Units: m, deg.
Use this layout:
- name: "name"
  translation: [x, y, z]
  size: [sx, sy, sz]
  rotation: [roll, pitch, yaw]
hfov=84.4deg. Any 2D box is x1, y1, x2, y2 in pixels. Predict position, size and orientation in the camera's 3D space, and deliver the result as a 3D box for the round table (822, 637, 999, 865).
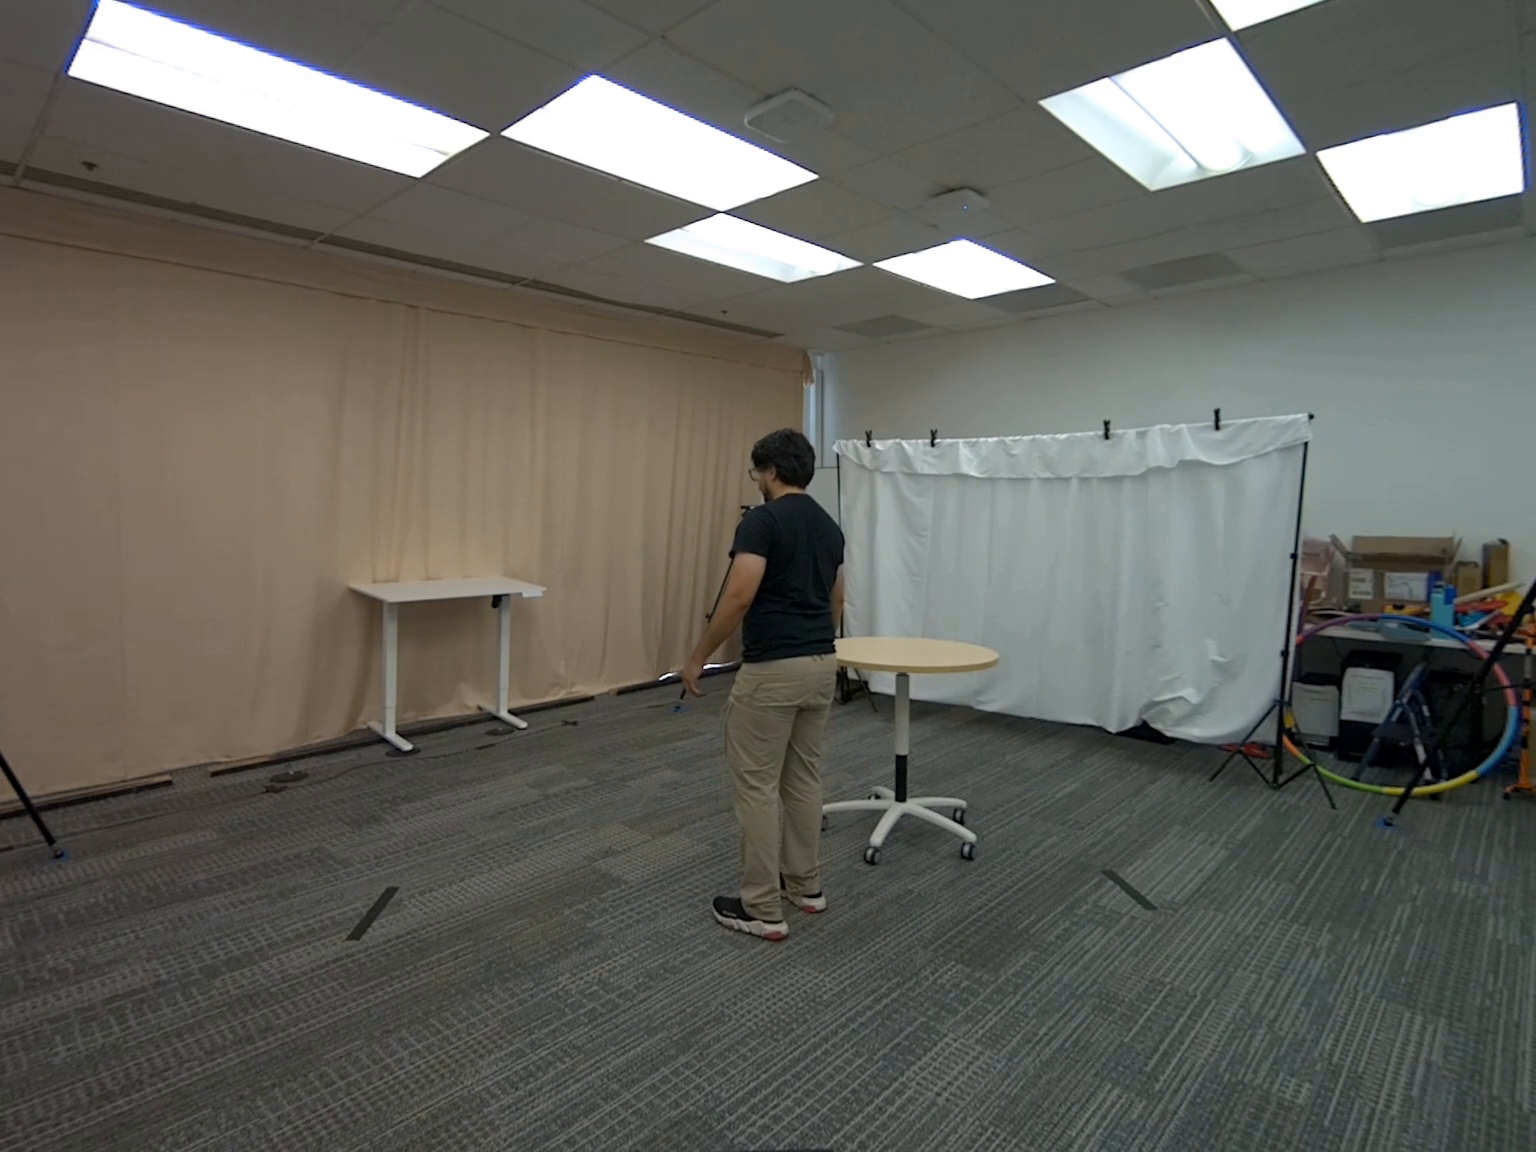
- name: "round table"
  translation: [0.552, 0.699, 3.562]
  size: [0.784, 0.785, 0.787]
  rotation: [1, 3, -2]
